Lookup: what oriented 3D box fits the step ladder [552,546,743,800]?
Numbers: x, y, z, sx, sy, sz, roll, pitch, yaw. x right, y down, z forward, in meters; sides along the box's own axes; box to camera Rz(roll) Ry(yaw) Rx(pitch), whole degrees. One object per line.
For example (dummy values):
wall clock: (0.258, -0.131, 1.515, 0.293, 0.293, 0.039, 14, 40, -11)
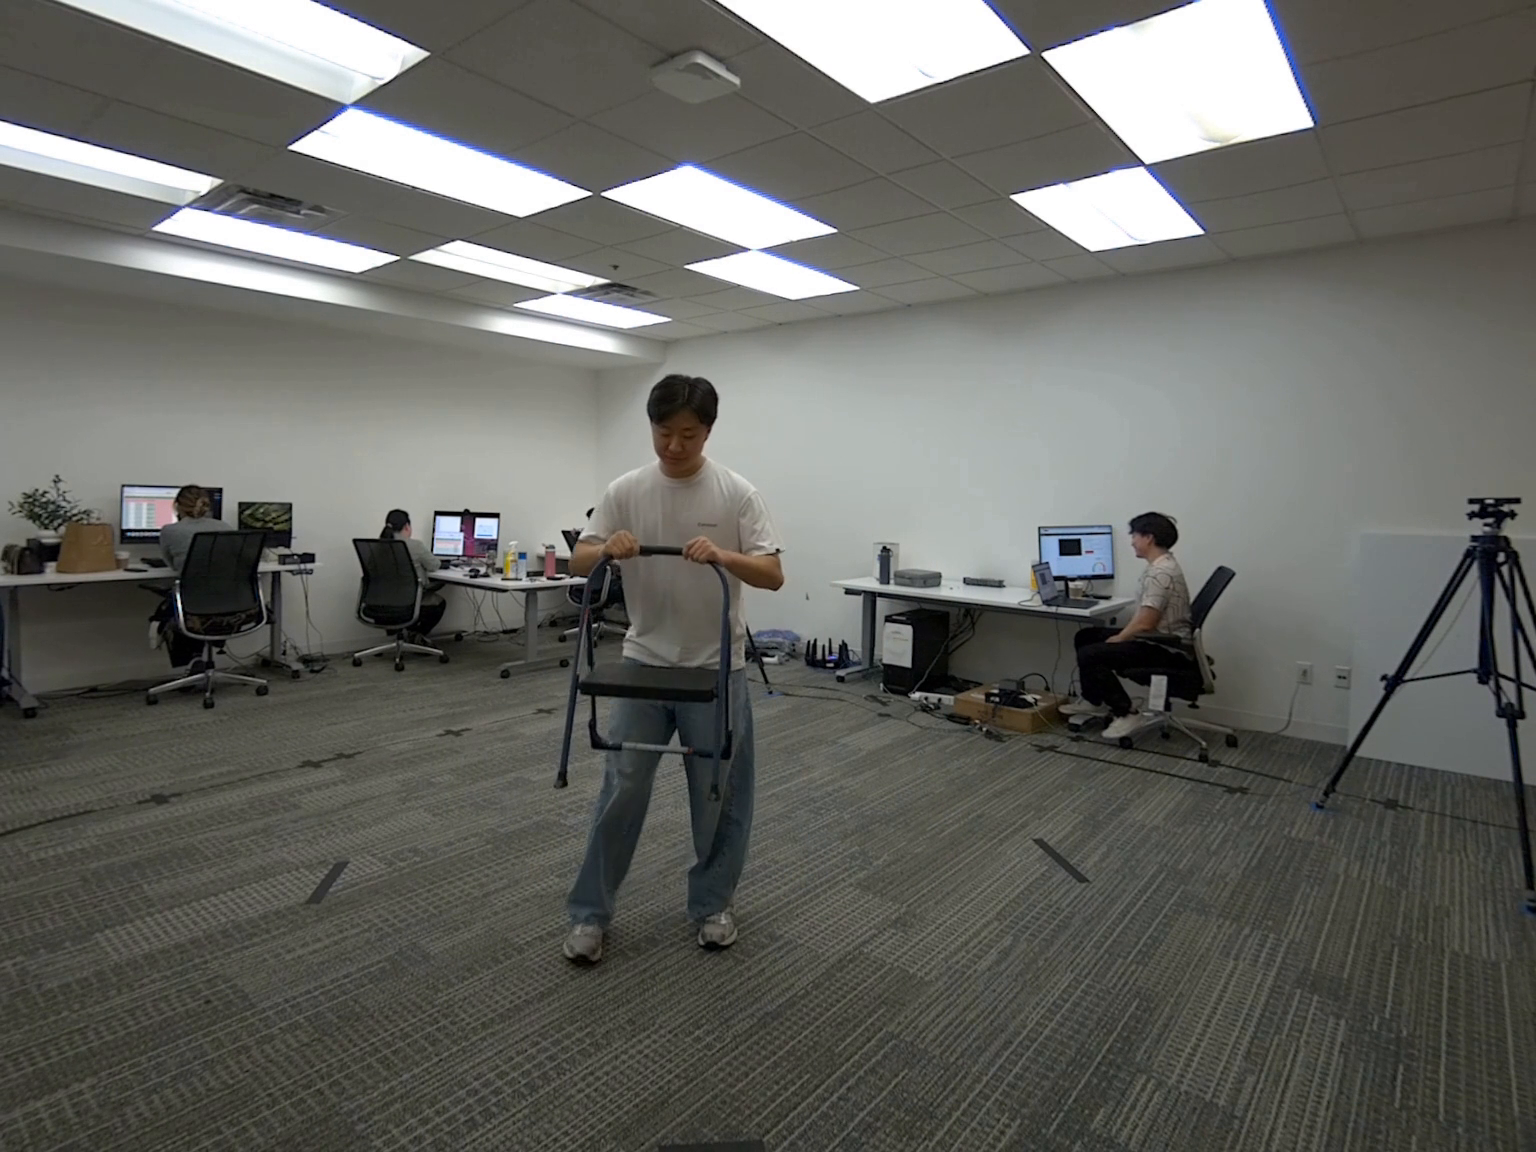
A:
step ladder: (-0.313, 0.235, 2.293, 0.434, 0.604, 0.347, 3, 3, 6)
